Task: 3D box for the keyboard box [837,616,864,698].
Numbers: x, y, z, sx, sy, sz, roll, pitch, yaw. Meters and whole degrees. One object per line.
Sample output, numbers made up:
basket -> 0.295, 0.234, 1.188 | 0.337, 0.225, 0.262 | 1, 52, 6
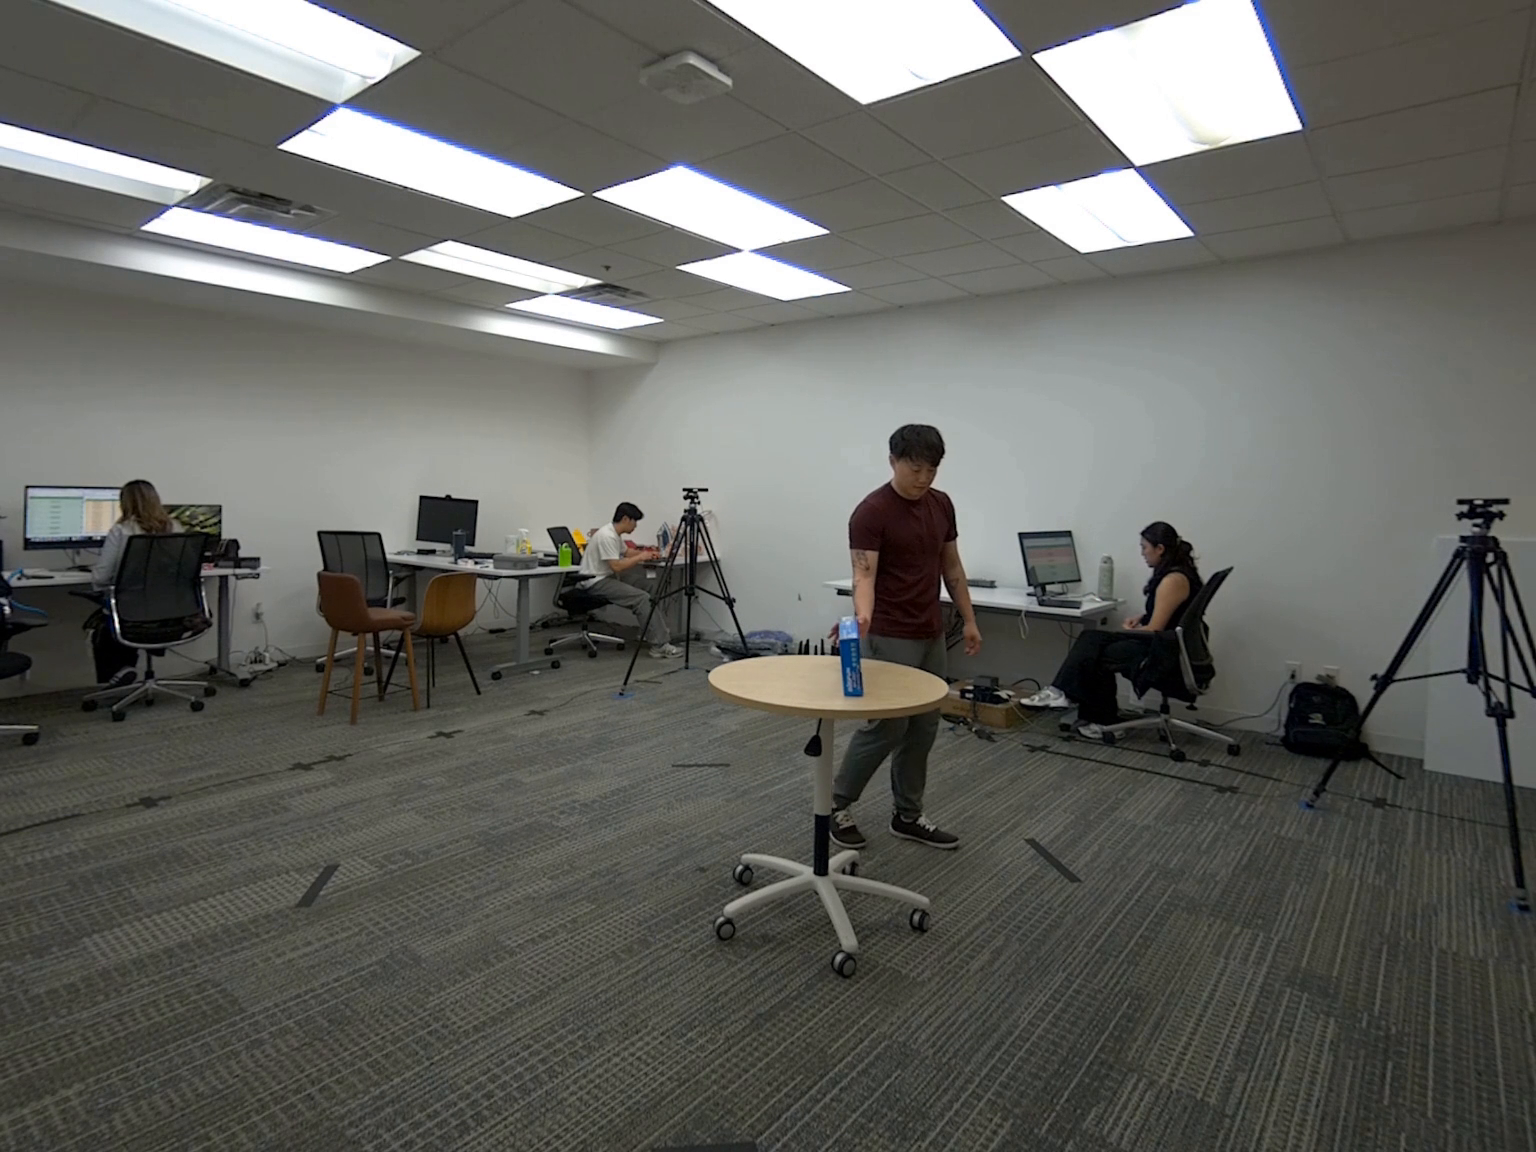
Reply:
keyboard box -> 0.260, 0.248, 2.730 | 0.059, 0.175, 0.436 | -5, 5, 5
